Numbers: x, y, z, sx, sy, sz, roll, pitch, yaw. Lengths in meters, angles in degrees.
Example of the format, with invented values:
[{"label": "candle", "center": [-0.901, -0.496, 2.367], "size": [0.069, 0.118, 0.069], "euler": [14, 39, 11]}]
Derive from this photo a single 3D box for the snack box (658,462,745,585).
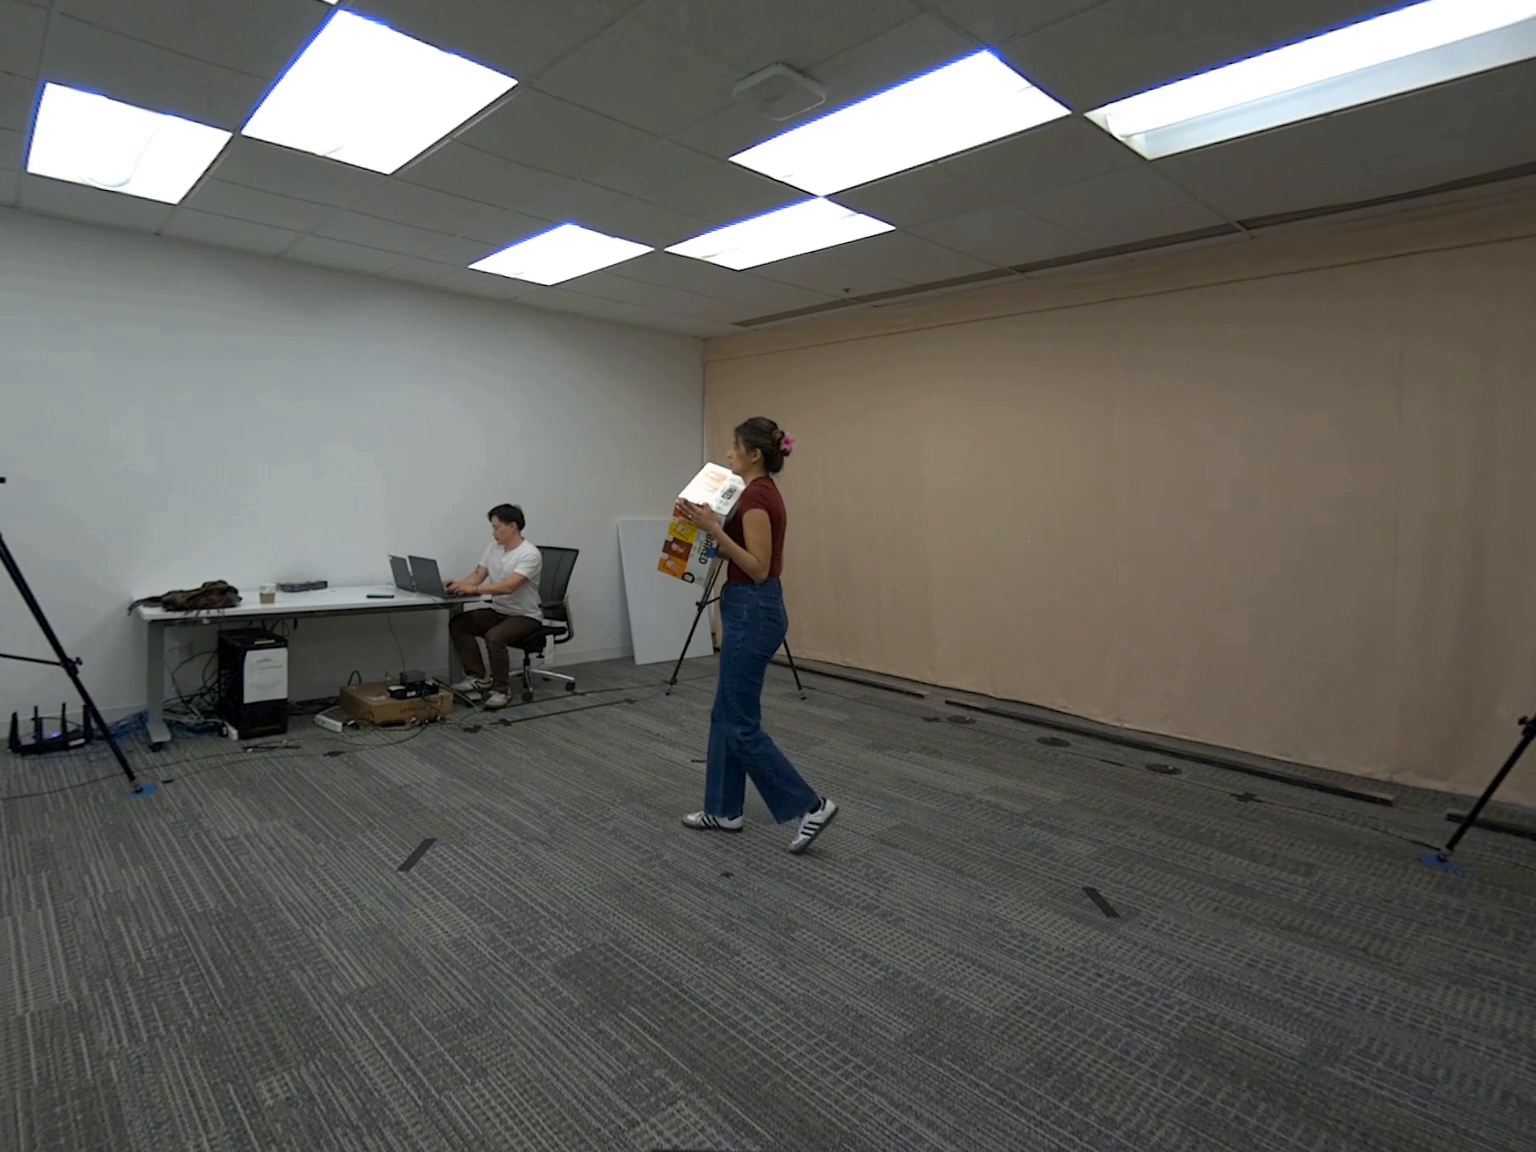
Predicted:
[{"label": "snack box", "center": [-0.267, -0.213, 3.425], "size": [0.207, 0.336, 0.407], "euler": [22, 29, 3]}]
